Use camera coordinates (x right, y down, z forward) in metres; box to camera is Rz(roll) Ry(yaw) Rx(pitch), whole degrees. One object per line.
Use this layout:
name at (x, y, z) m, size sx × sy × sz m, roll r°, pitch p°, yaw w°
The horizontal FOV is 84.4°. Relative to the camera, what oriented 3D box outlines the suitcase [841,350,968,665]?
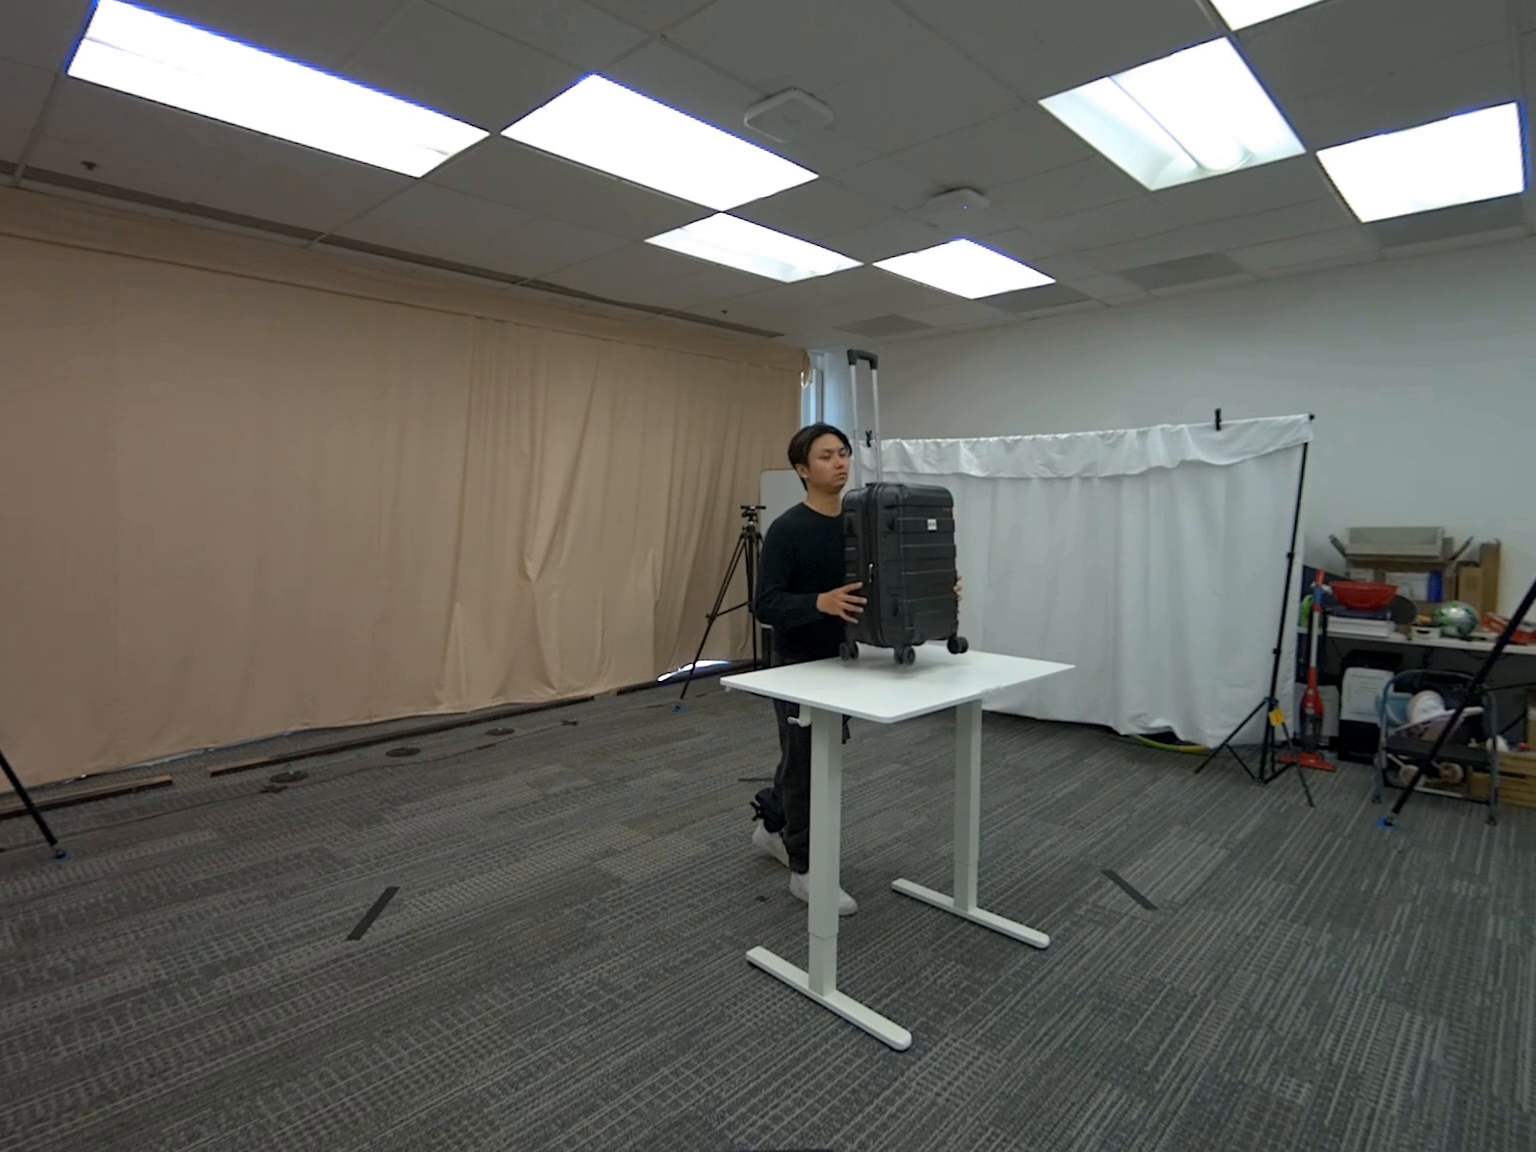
suitcase at (0.425, -0.228, 2.648) m, size 0.265 × 0.978 × 0.372 m, roll 1°, pitch 1°, yaw 43°
